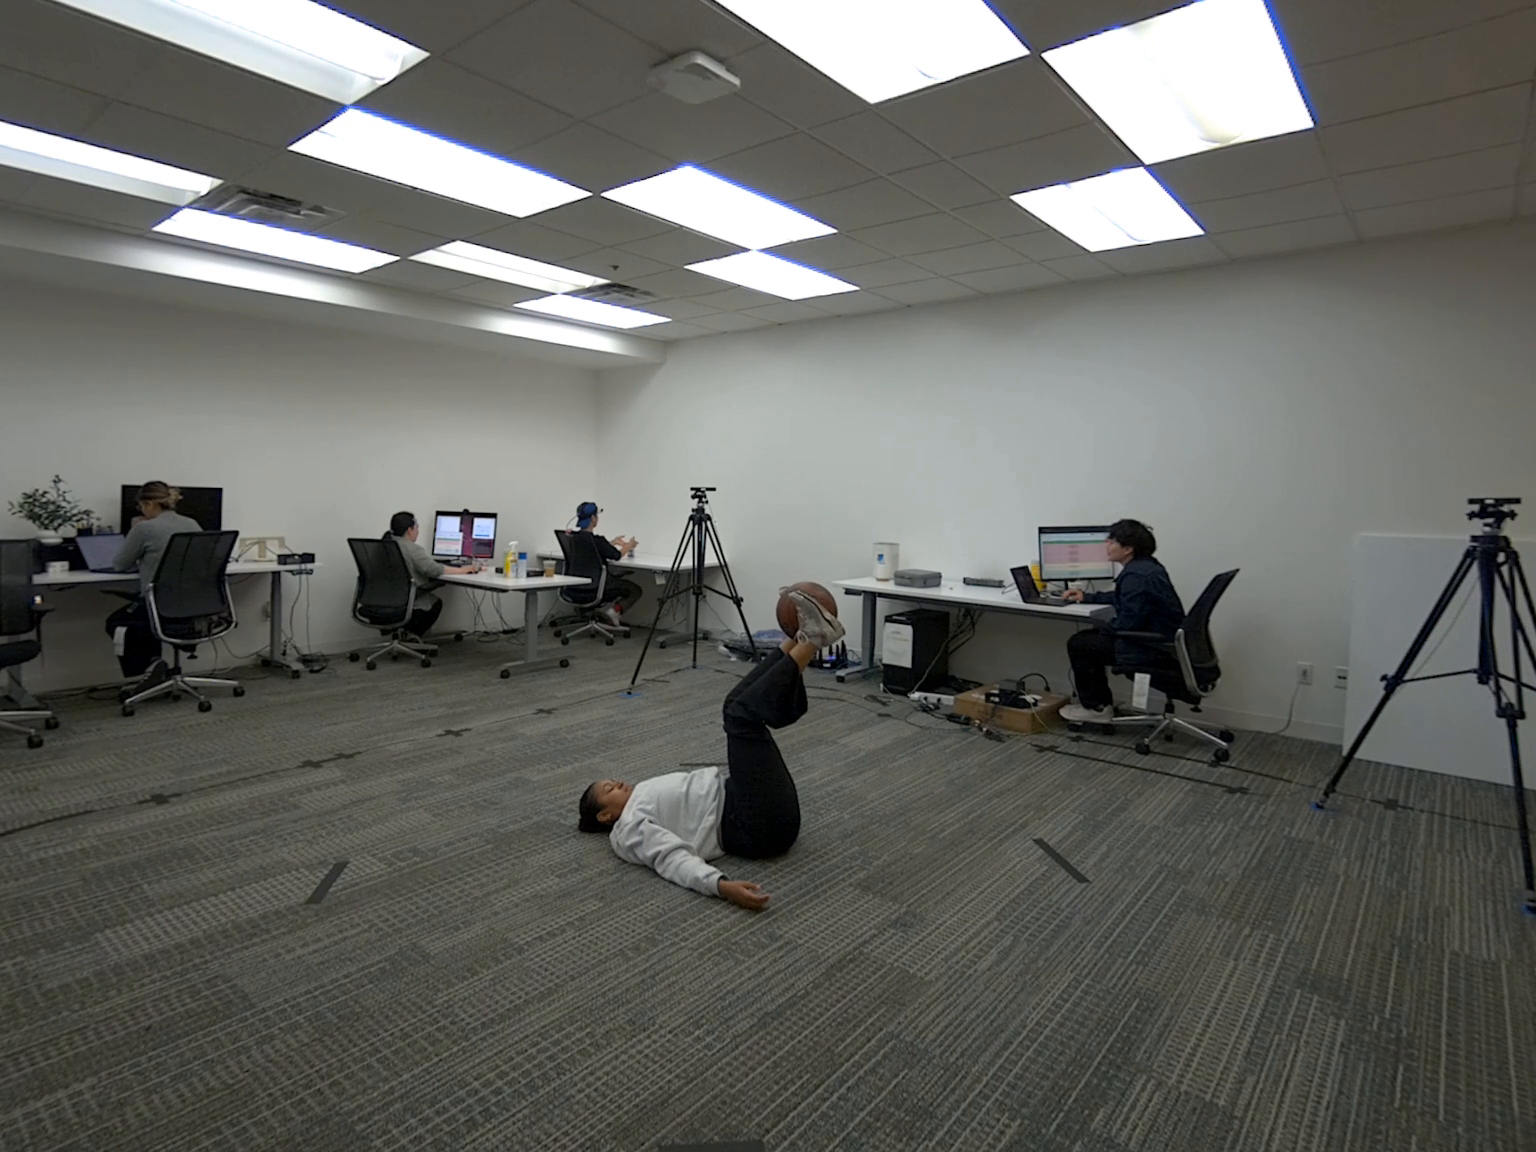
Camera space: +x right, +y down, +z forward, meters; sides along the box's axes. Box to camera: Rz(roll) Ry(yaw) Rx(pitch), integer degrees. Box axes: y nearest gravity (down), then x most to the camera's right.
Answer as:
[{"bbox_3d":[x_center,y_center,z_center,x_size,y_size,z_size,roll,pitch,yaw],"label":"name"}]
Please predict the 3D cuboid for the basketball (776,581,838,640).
[{"bbox_3d":[0.144,0.143,3.320,0.236,0.234,0.238,-2,8,-2],"label":"basketball"}]
